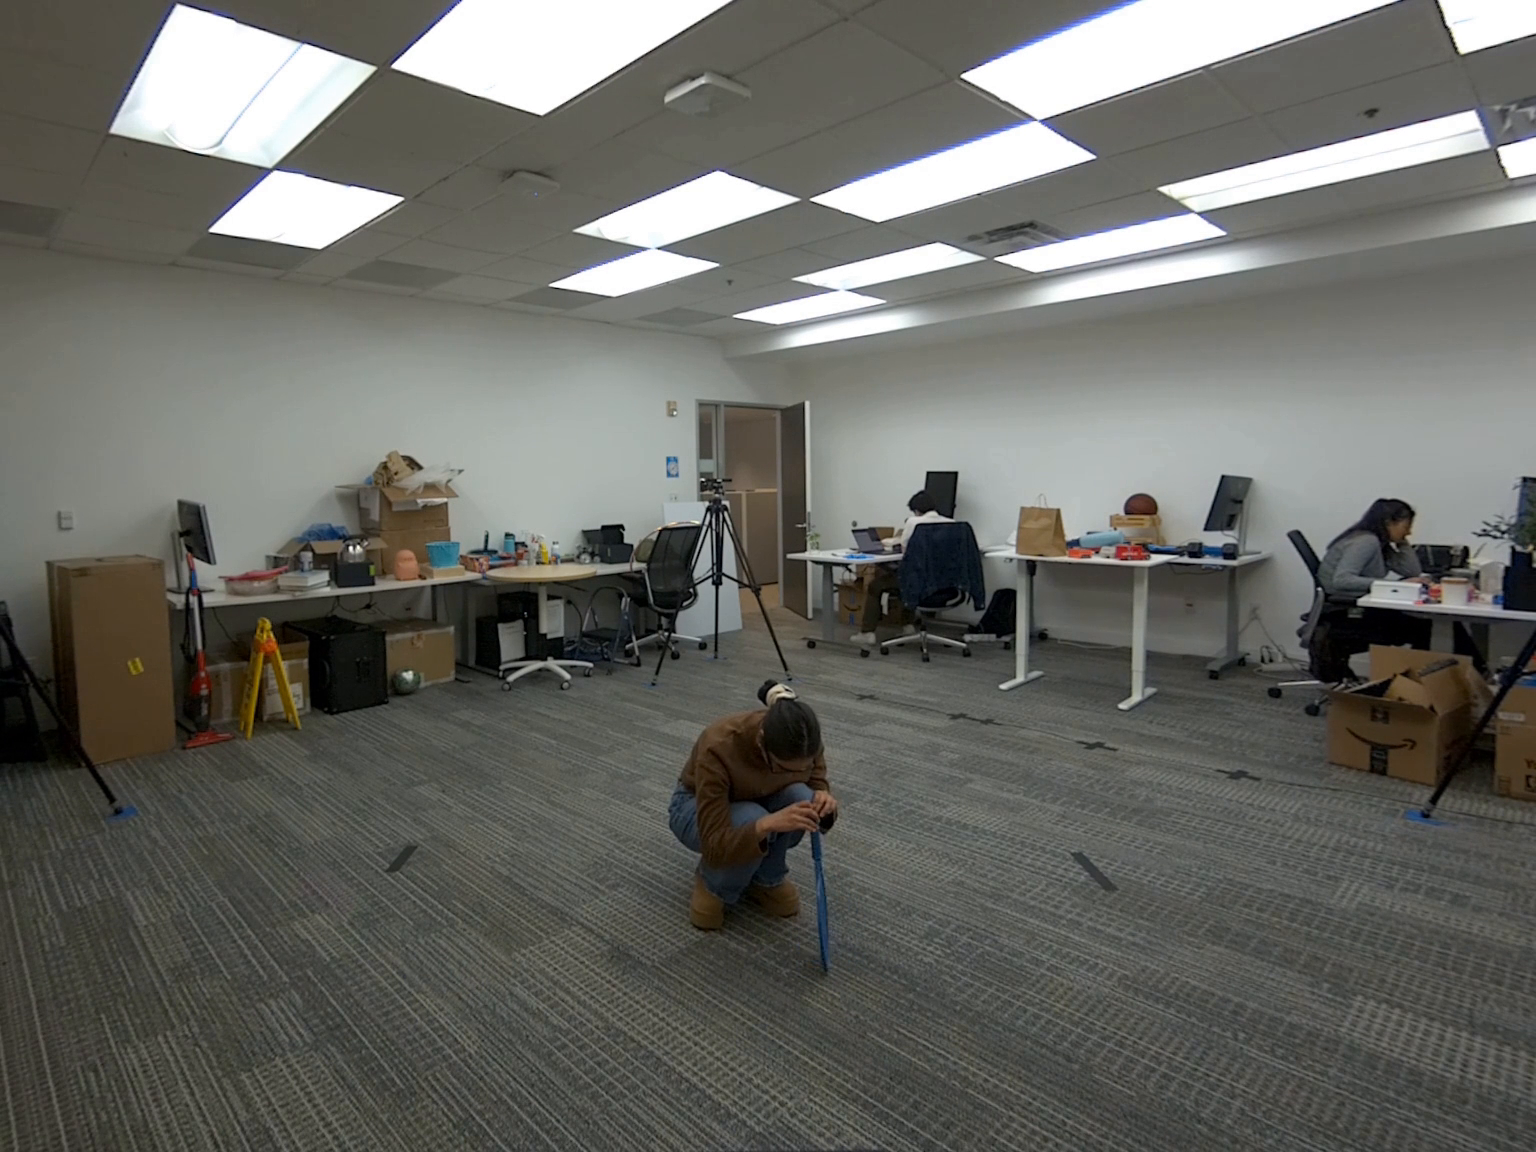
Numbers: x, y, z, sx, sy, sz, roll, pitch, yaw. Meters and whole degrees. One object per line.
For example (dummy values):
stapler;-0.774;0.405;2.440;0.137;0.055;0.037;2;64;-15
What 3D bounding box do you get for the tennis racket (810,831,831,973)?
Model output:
tennis racket;0.146;0.911;2.450;0.032;0.435;0.212;-7;-5;-1
